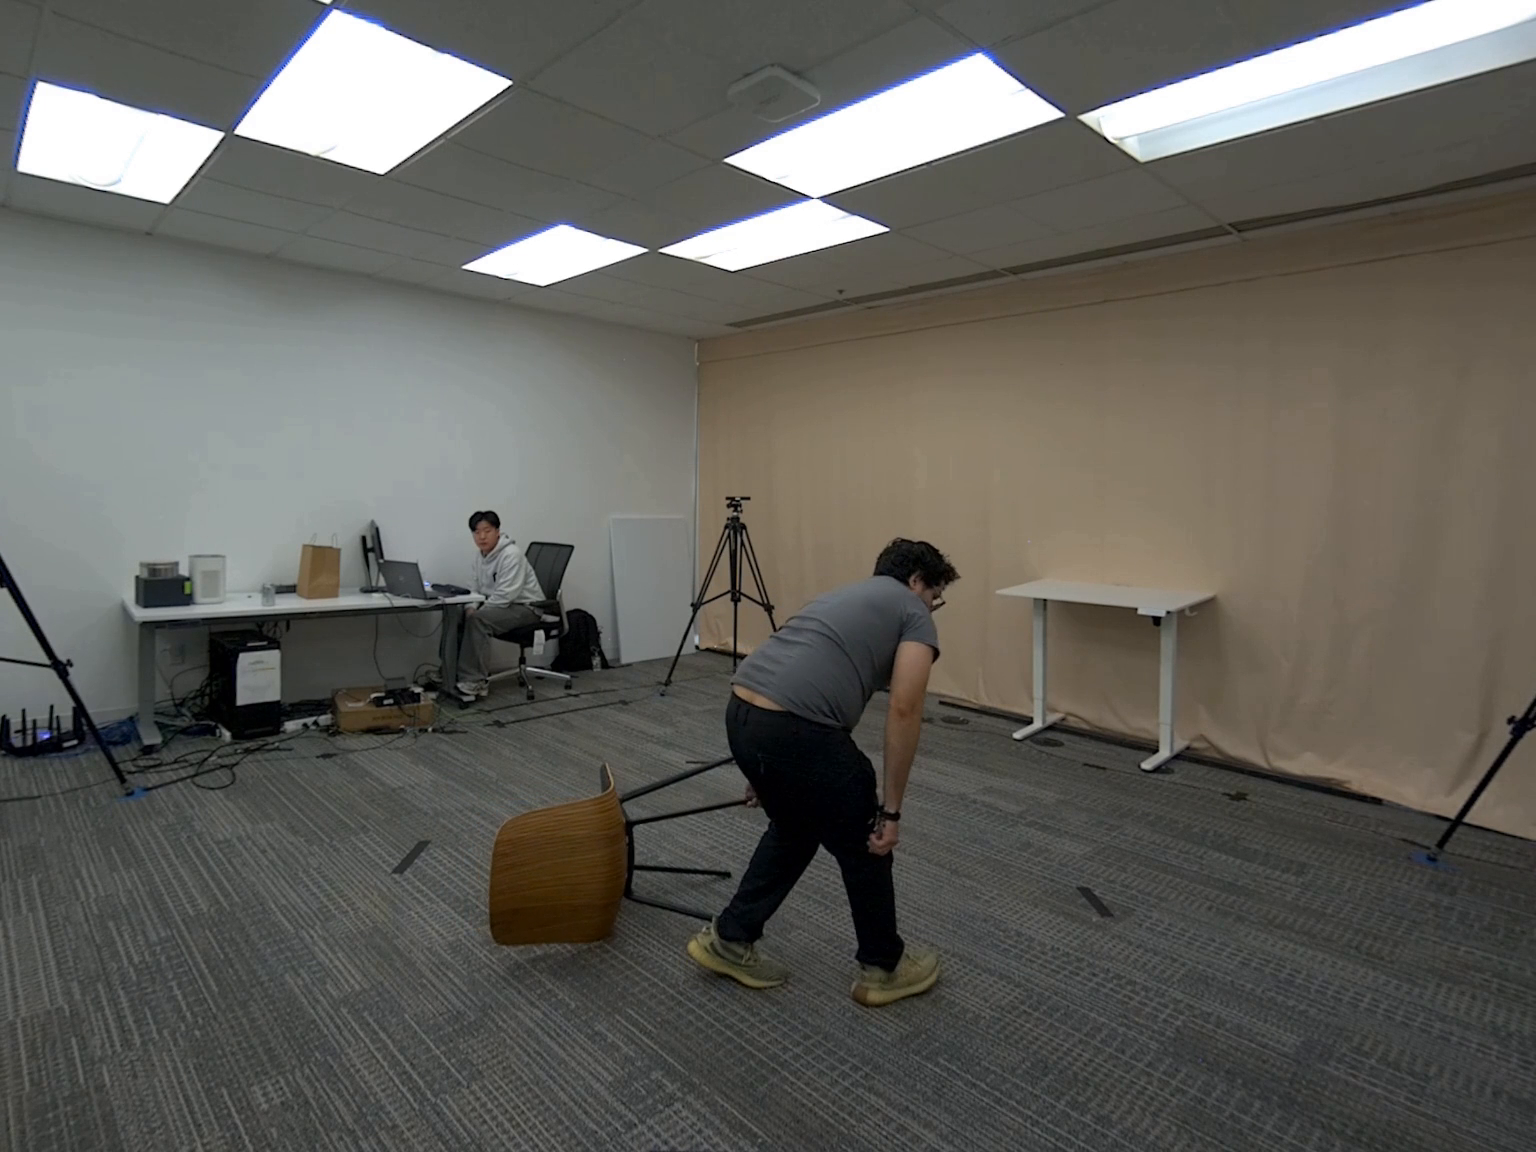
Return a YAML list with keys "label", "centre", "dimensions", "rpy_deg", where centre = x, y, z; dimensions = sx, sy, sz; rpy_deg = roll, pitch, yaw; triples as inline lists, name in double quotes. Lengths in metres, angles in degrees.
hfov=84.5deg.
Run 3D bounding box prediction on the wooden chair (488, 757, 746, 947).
- label: "wooden chair"
  centre: [-0.482, 0.895, 2.781]
  dimensions: [0.865, 0.477, 0.532]
  rpy_deg: [-1, 4, -19]
